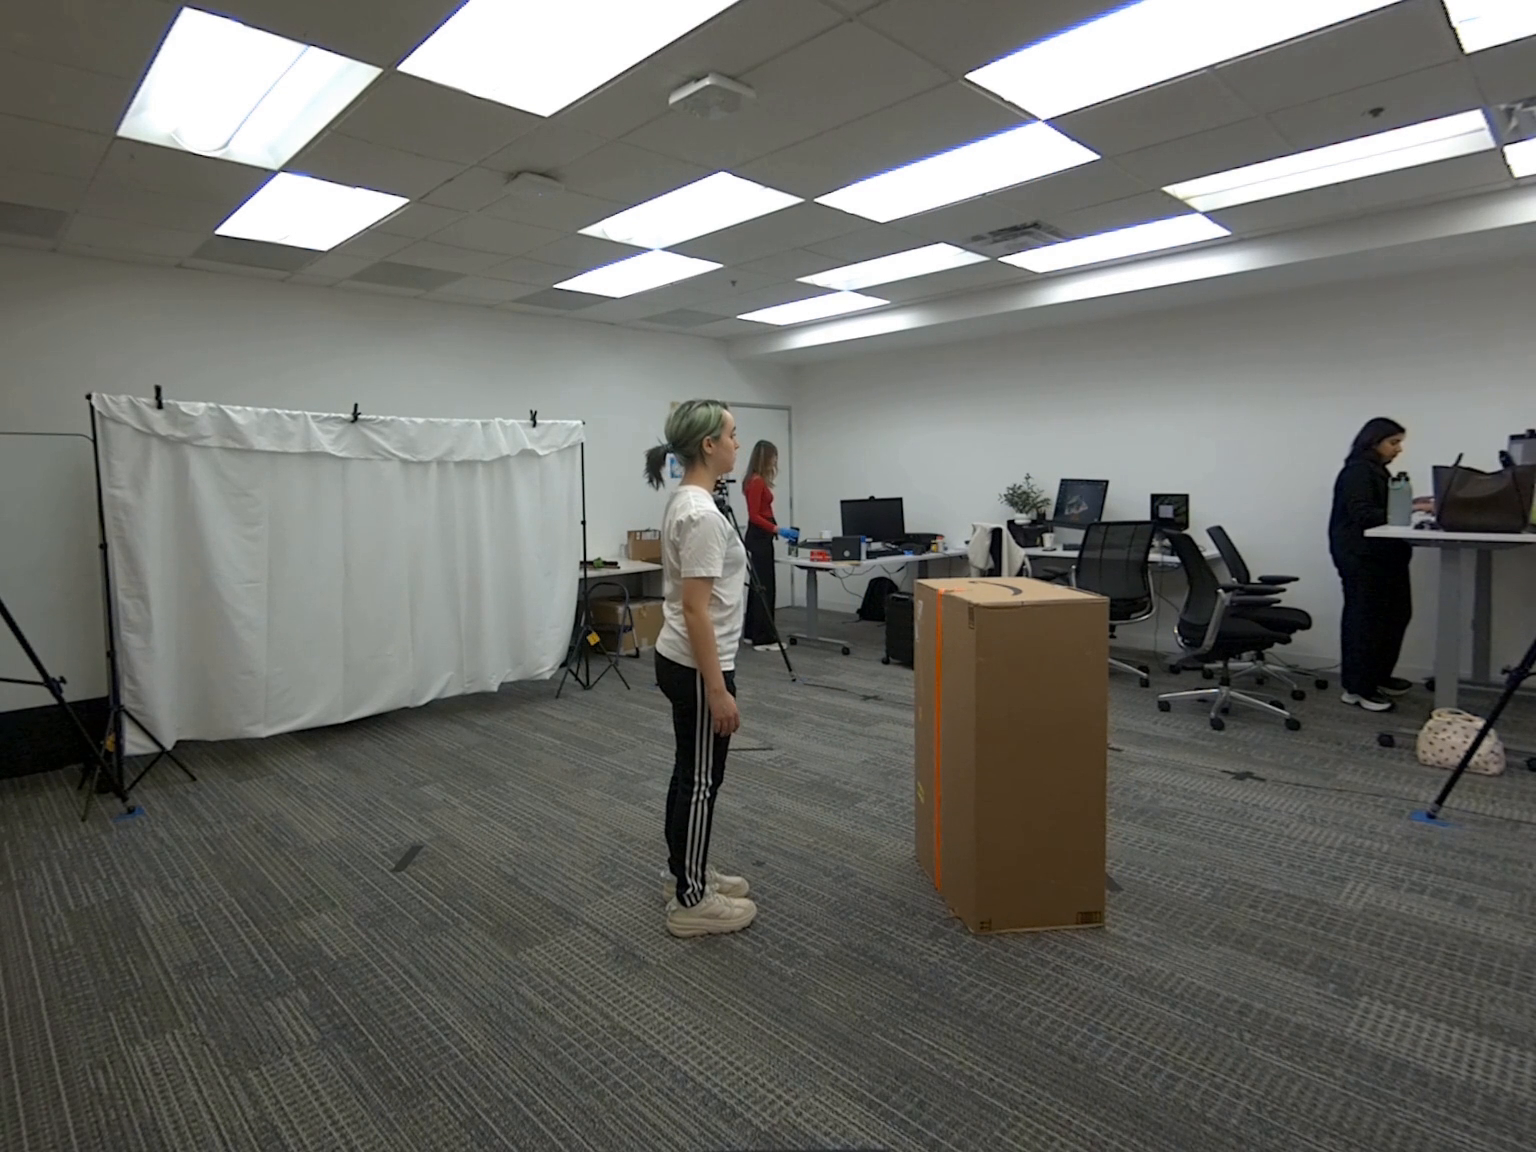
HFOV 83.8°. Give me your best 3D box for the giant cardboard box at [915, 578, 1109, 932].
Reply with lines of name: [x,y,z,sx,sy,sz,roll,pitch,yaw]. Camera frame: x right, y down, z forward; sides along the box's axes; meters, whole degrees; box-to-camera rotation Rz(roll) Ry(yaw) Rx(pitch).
giant cardboard box: [0.788,0.552,2.860,0.444,1.023,0.590,-1,5,-8]
